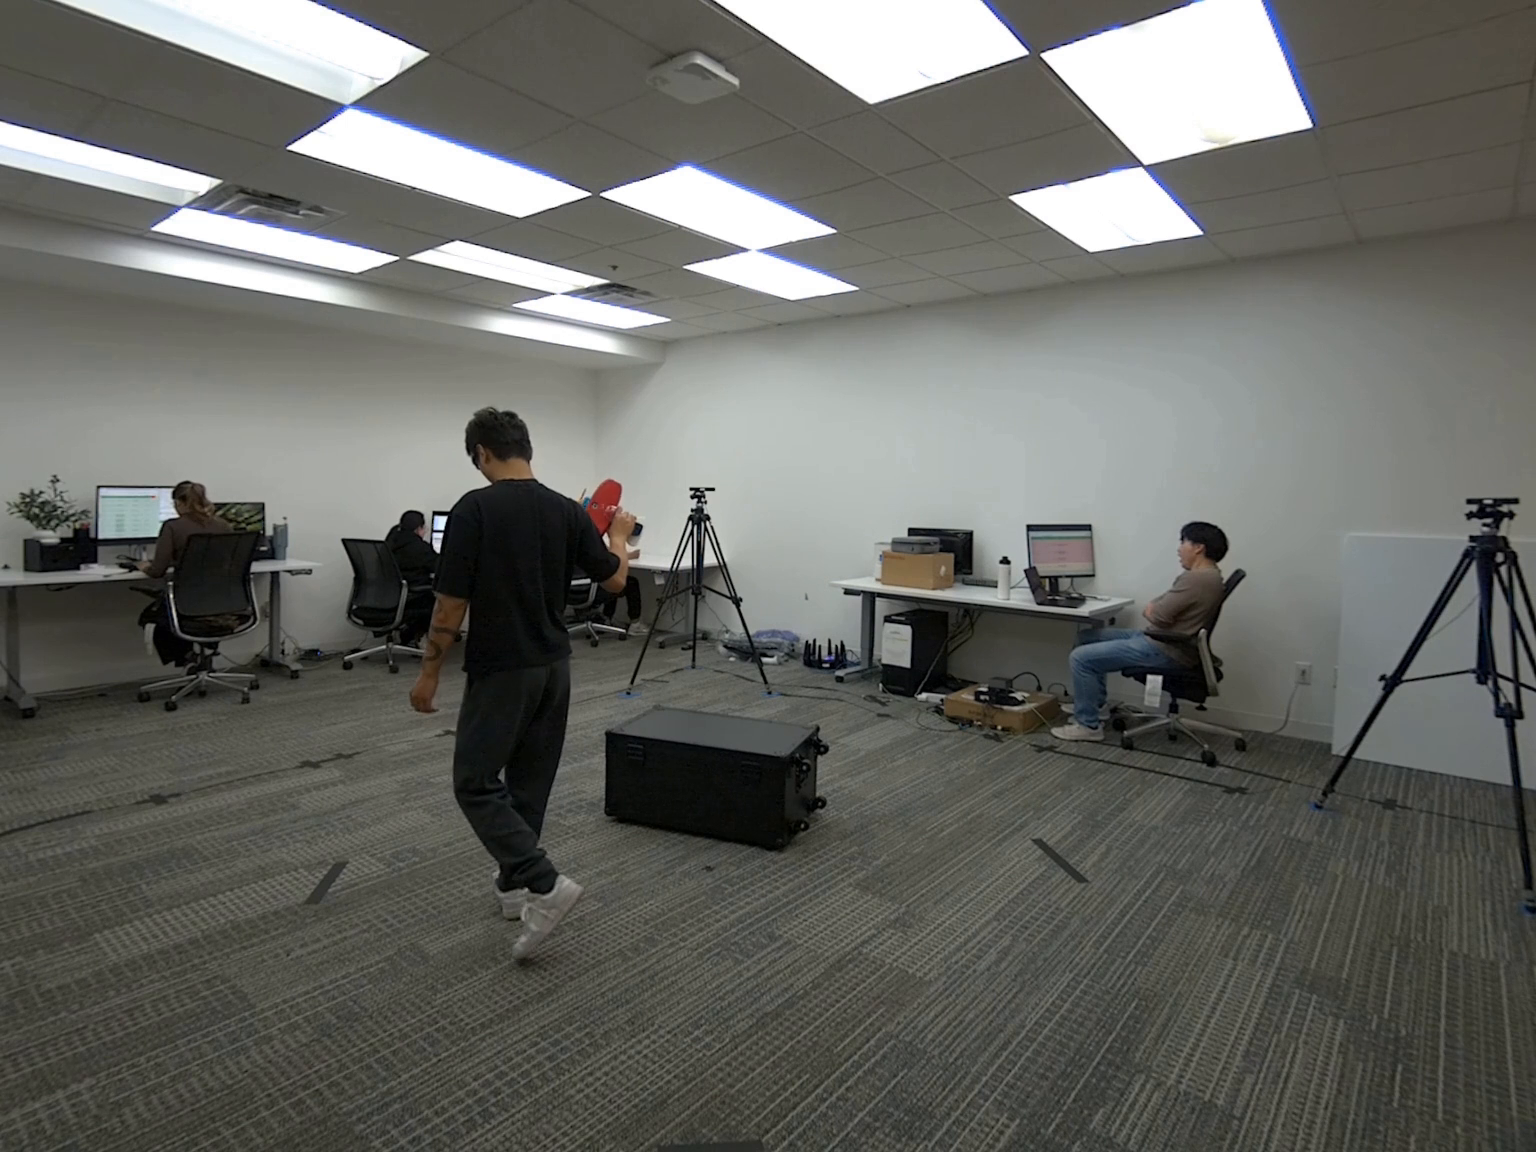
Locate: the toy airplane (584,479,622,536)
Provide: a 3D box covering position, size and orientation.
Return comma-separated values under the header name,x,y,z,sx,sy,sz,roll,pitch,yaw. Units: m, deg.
name,x,y,z,sx,sy,sz,roll,pitch,yaw
toy airplane,-0.580,-0.225,3.107,0.258,0.257,0.153,-5,-25,-5
